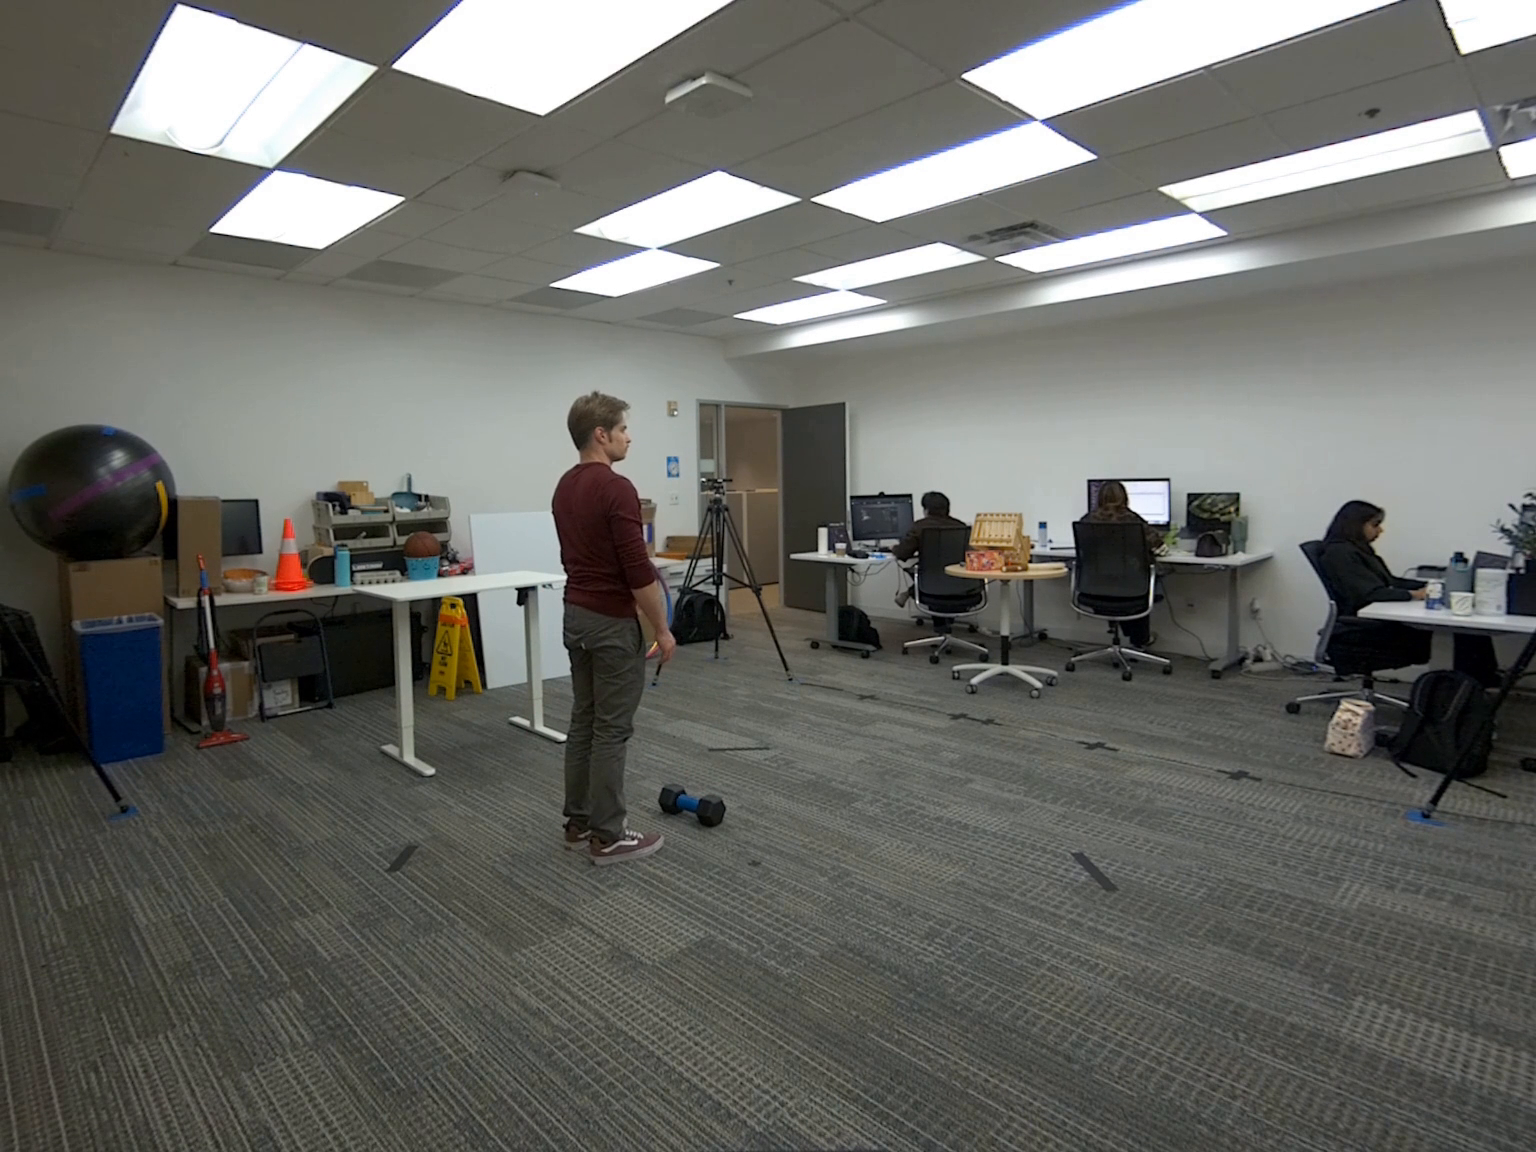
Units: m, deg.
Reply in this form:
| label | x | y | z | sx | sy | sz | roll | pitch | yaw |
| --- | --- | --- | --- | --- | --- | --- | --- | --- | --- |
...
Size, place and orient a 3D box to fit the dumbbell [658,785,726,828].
| label | x | y | z | sx | sy | sz | roll | pitch | yaw |
| --- | --- | --- | --- | --- | --- | --- | --- | --- | --- |
| dumbbell | -0.315 | 0.945 | 3.538 | 0.302 | 0.119 | 0.108 | 3 | 35 | 39 |
